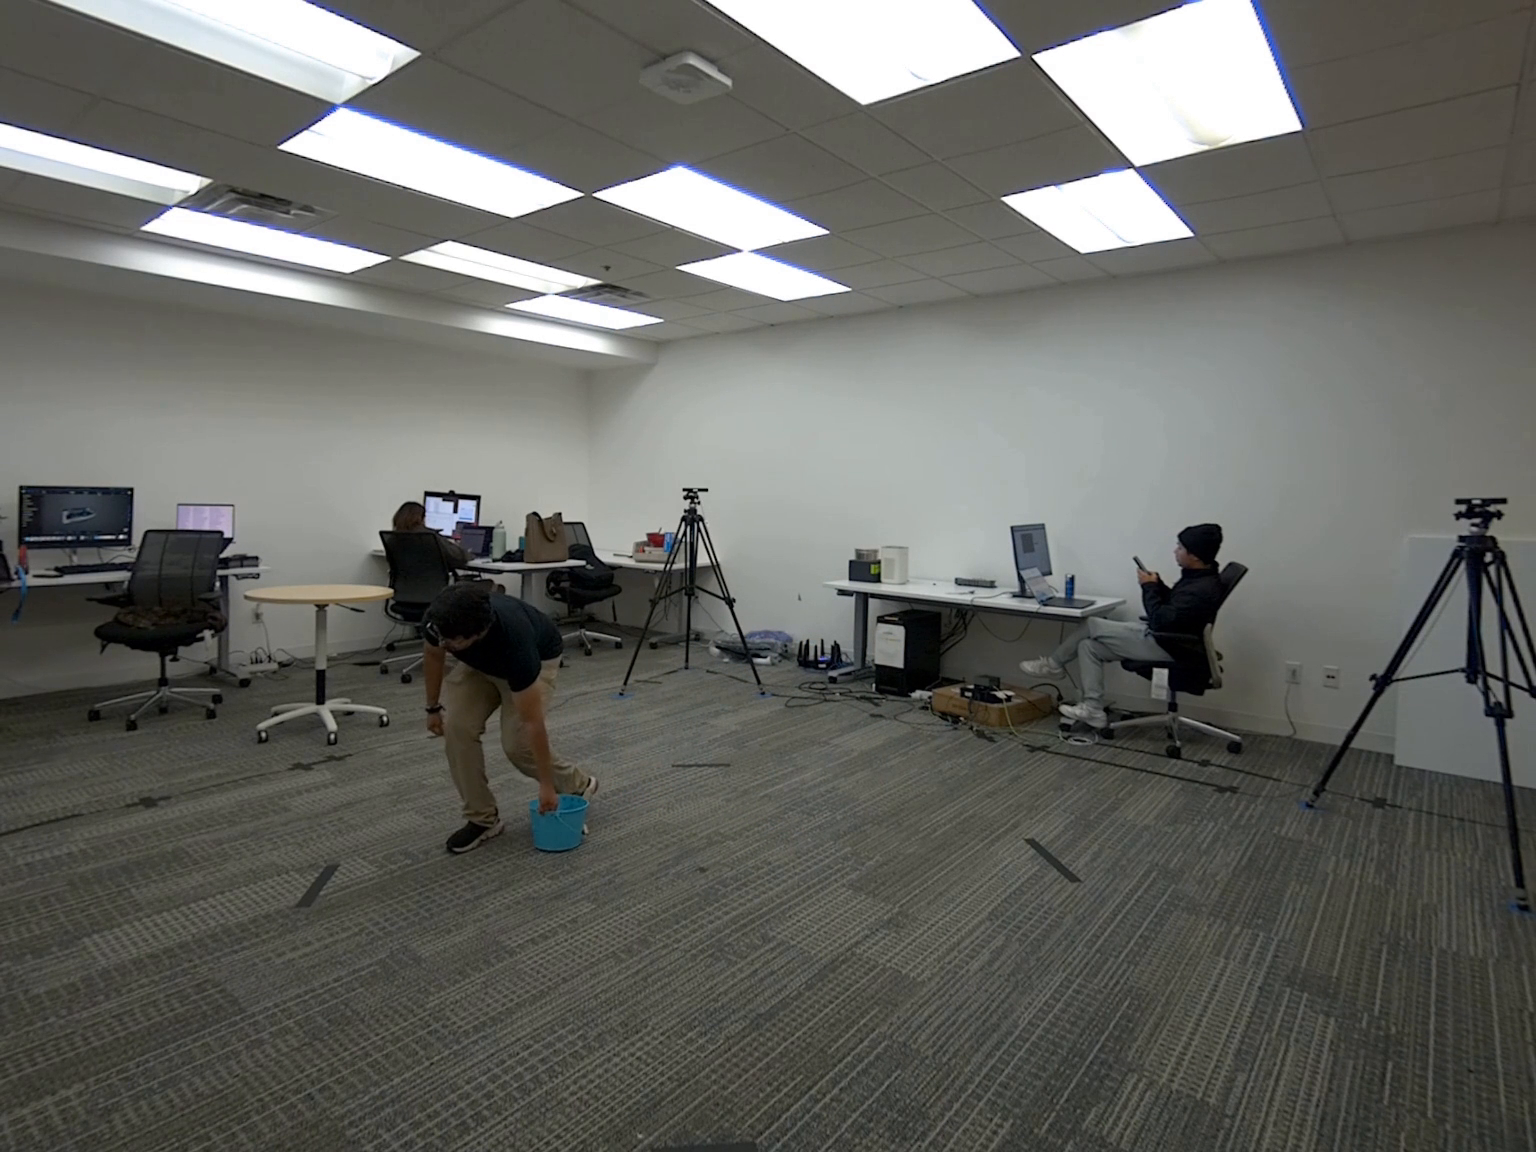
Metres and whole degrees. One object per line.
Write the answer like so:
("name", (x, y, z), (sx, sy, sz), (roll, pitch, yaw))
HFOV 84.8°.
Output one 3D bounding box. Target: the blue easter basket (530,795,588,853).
("blue easter basket", (-0.823, 0.959, 3.308), (0.243, 0.156, 0.244), (1, 1, -2))
